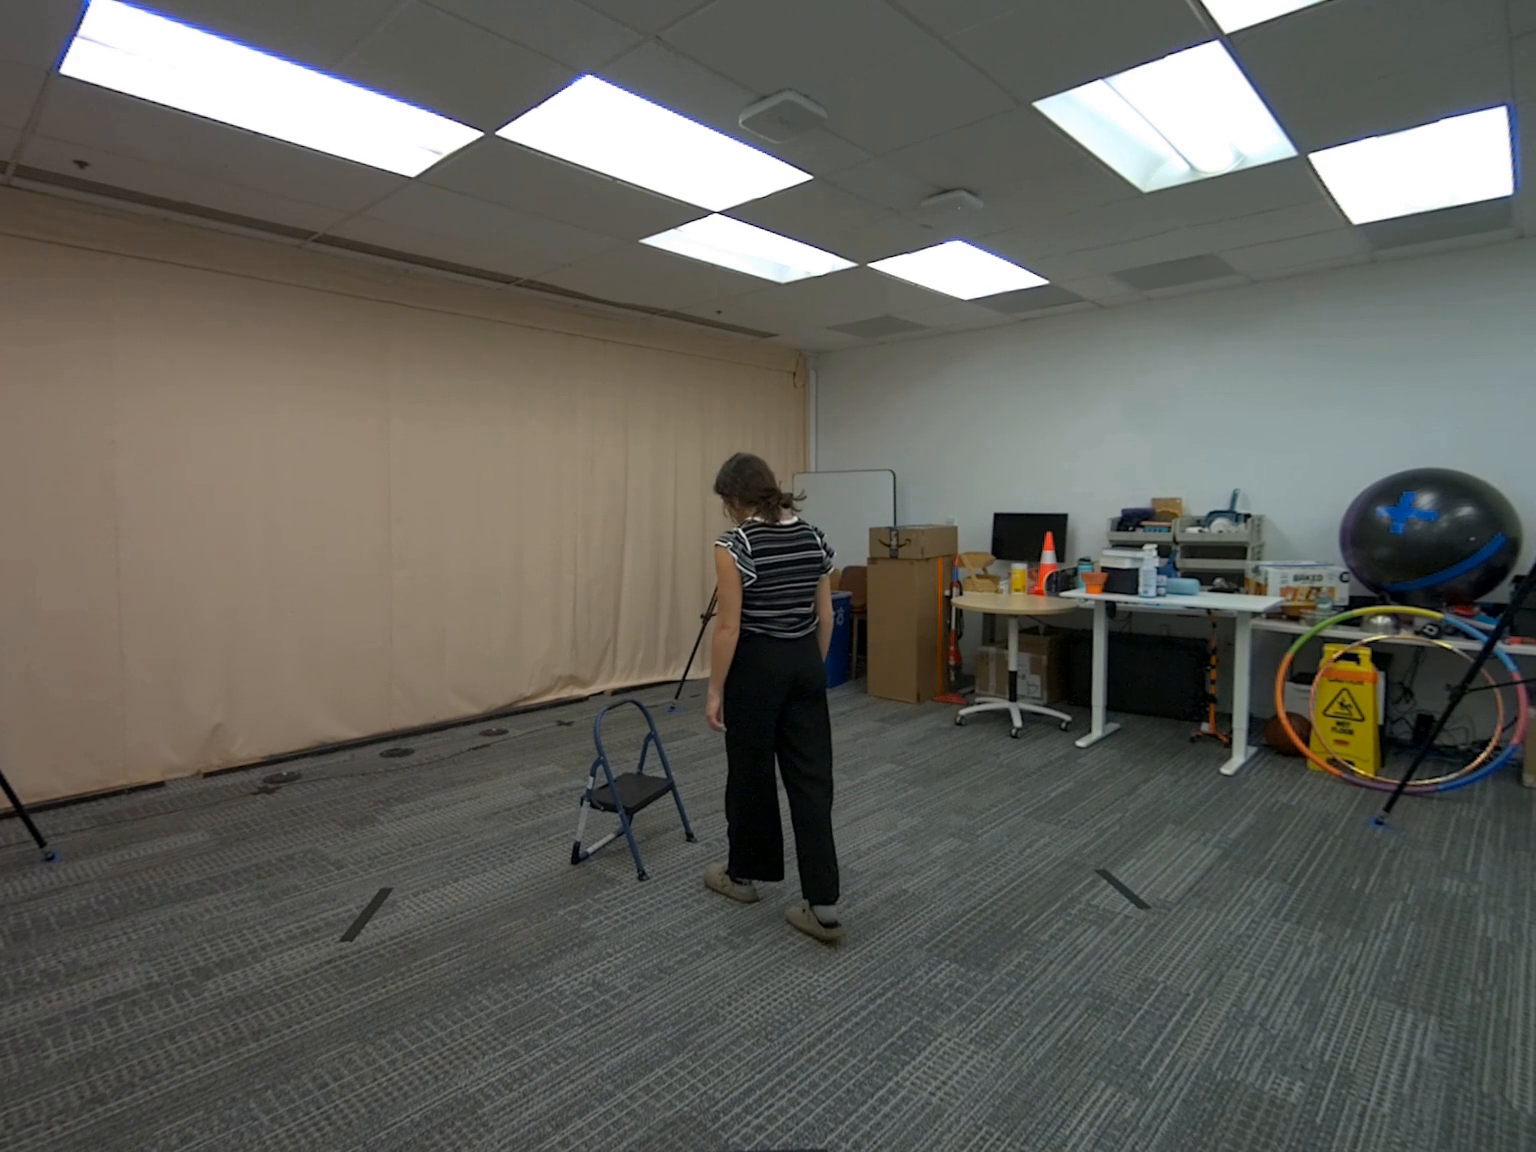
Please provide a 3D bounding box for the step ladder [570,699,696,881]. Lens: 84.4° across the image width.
[{"bbox_3d":[-0.536,0.814,3.383,0.358,0.605,0.421,1,3,23],"label":"step ladder"}]
